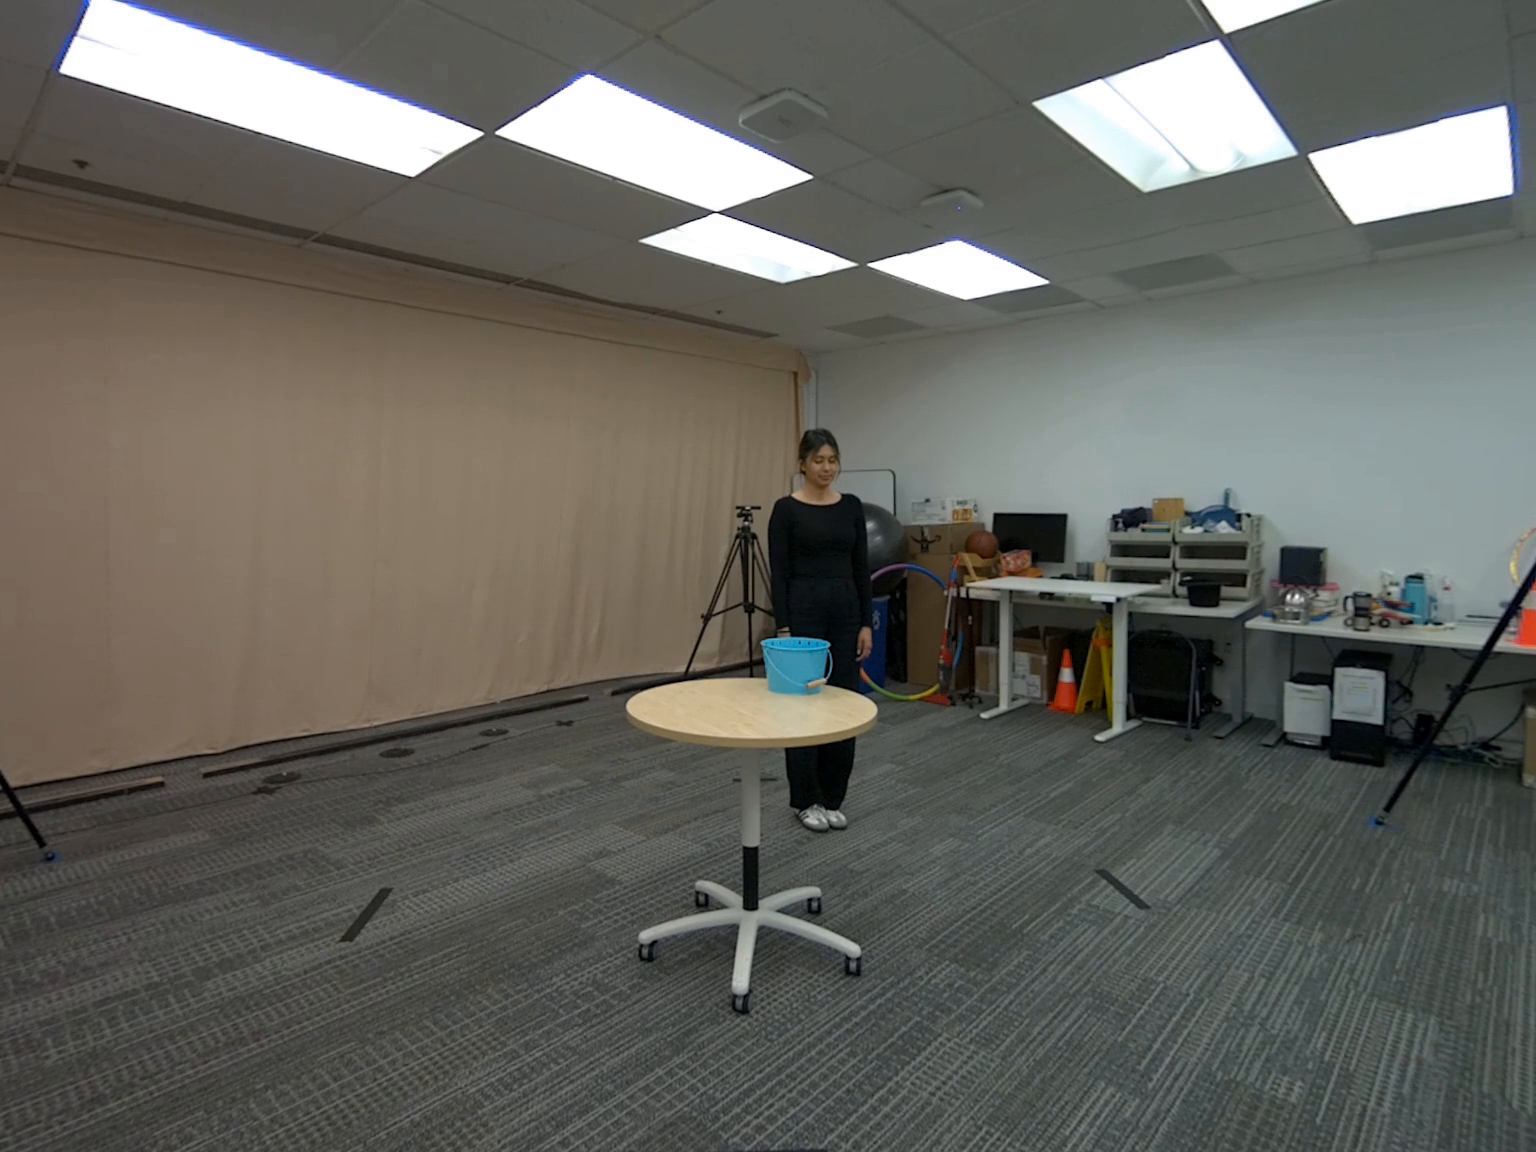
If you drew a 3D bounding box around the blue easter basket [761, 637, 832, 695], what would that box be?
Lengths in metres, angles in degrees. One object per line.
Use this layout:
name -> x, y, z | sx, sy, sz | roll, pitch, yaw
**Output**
blue easter basket -> 0.092, 0.306, 2.805 | 0.243, 0.156, 0.244 | -1, 2, -2
